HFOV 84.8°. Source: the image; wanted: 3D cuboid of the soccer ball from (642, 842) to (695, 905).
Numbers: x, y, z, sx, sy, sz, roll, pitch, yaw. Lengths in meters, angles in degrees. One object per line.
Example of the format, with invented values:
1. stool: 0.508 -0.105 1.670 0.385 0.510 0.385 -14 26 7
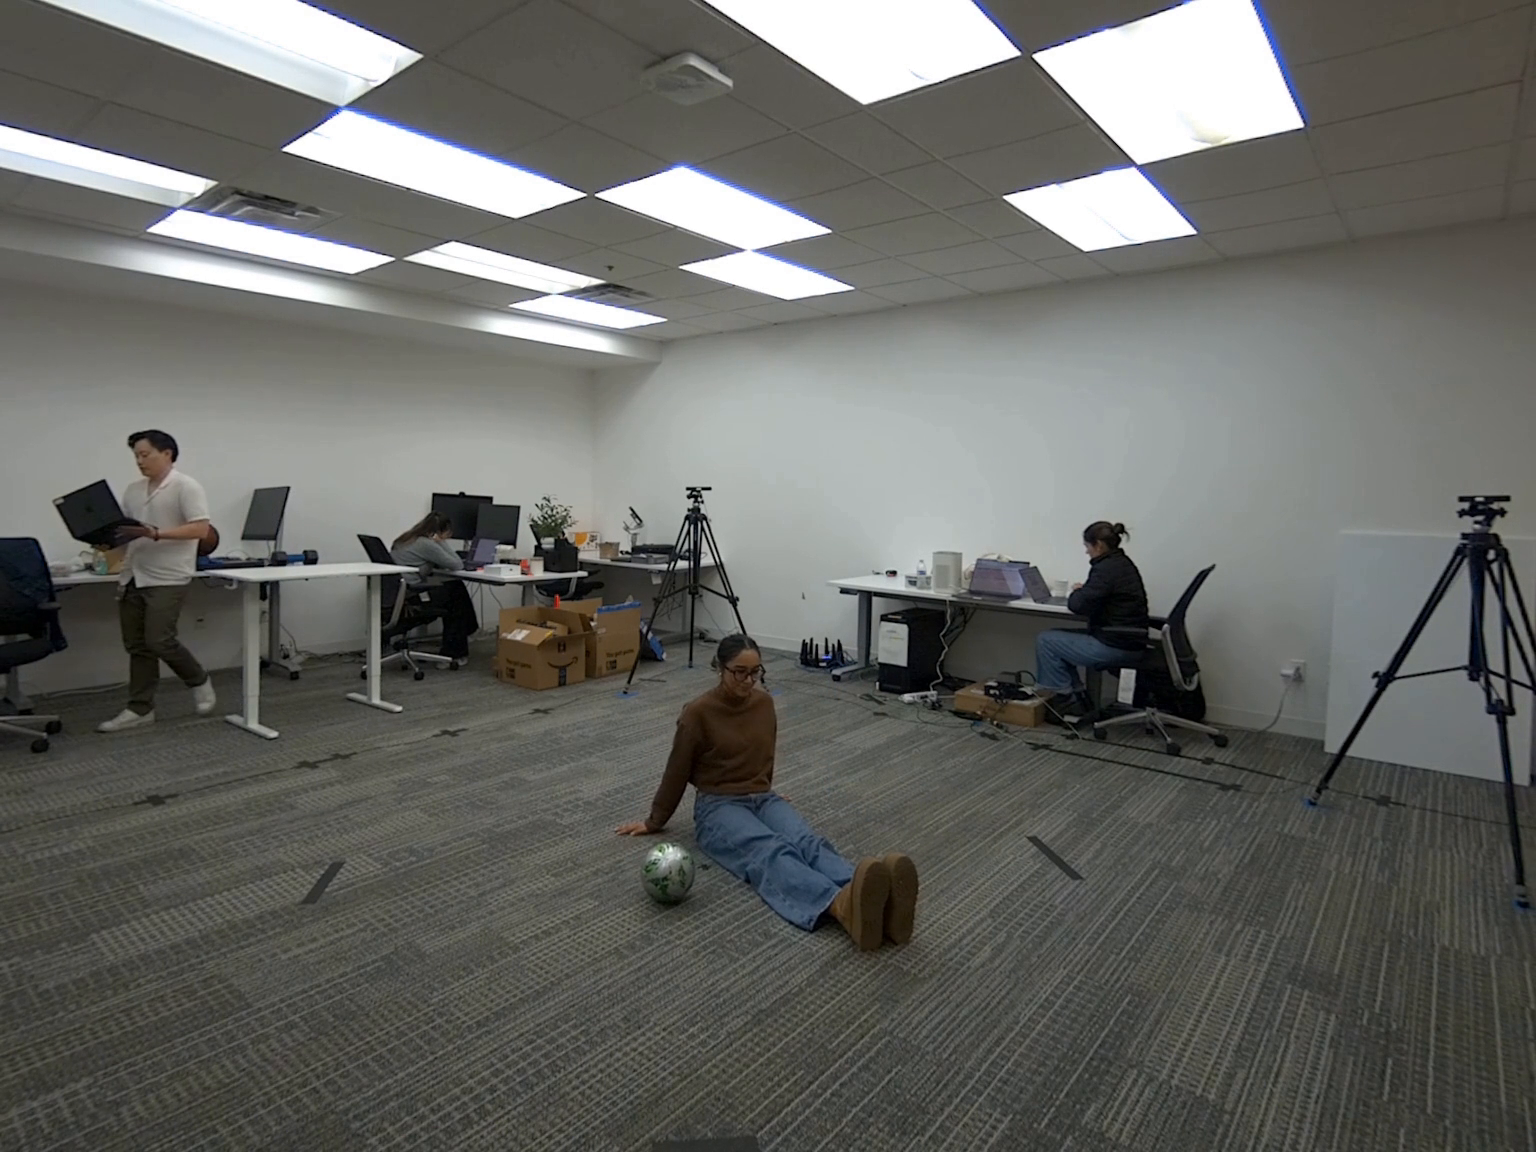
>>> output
1. soccer ball: -0.350 0.989 2.863 0.187 0.187 0.188 1 4 -2
